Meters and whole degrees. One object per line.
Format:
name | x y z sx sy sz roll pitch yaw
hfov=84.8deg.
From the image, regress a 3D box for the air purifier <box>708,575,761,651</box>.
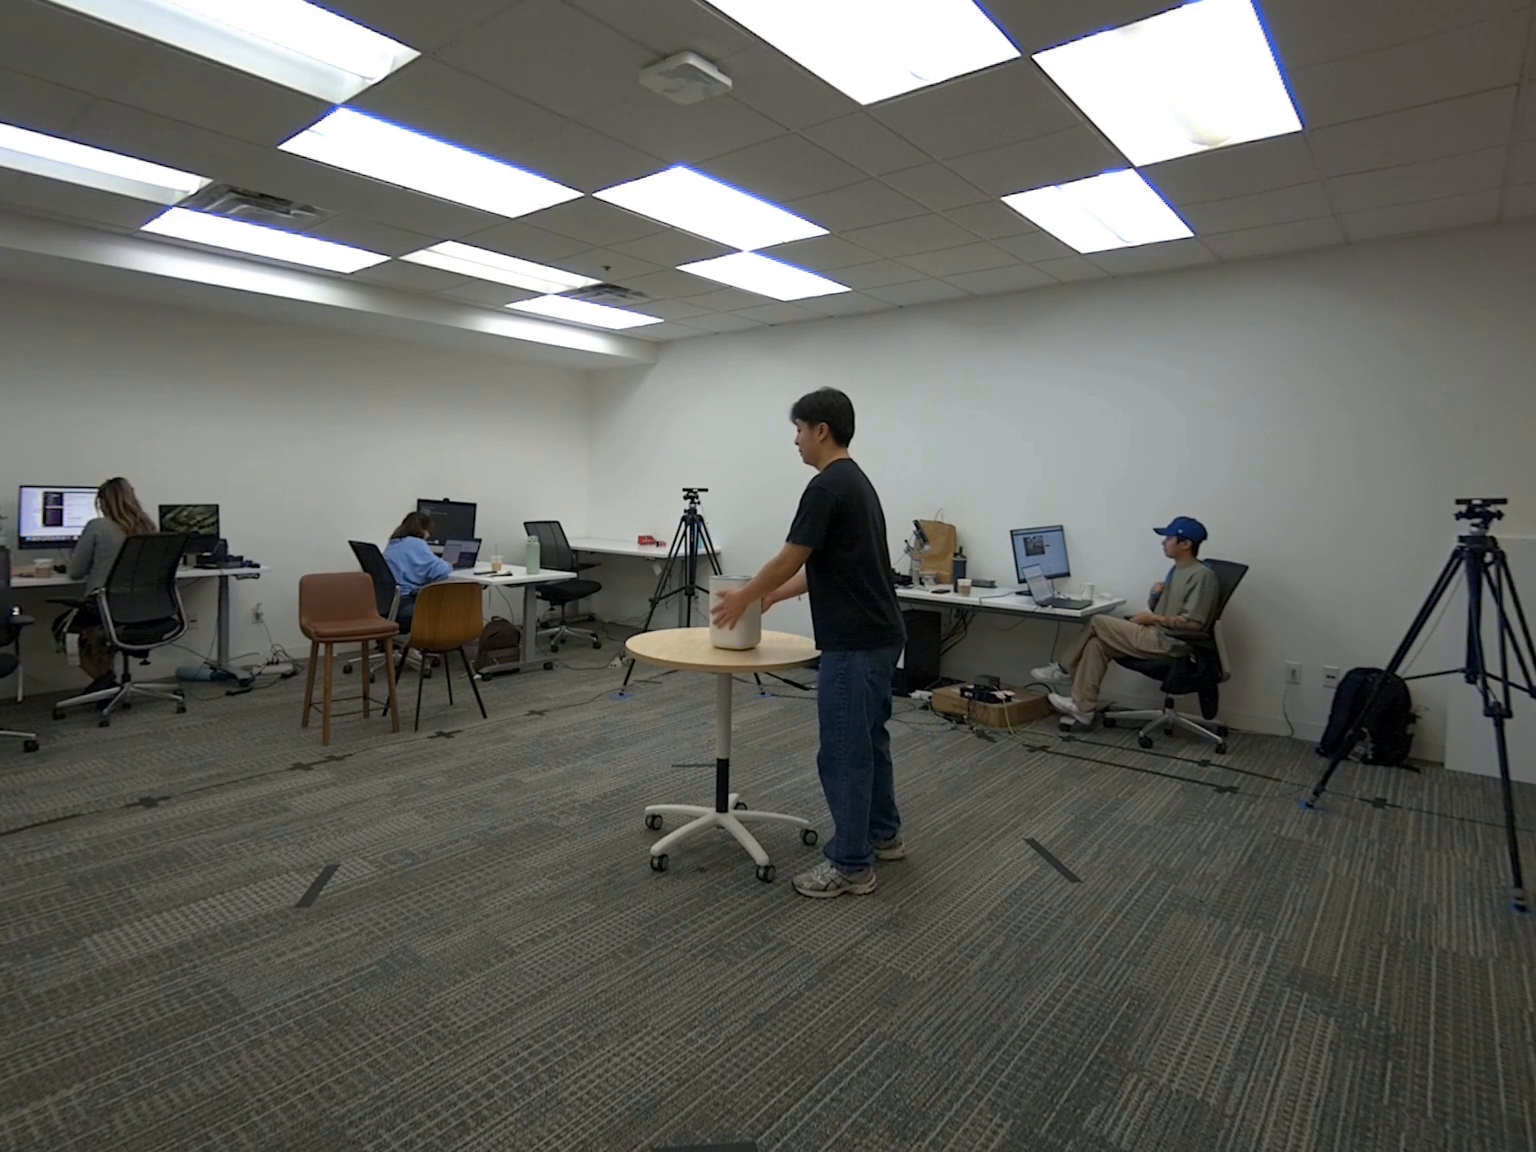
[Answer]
air purifier | -0.132 0.132 3.222 0.176 0.264 0.167 2 4 30
